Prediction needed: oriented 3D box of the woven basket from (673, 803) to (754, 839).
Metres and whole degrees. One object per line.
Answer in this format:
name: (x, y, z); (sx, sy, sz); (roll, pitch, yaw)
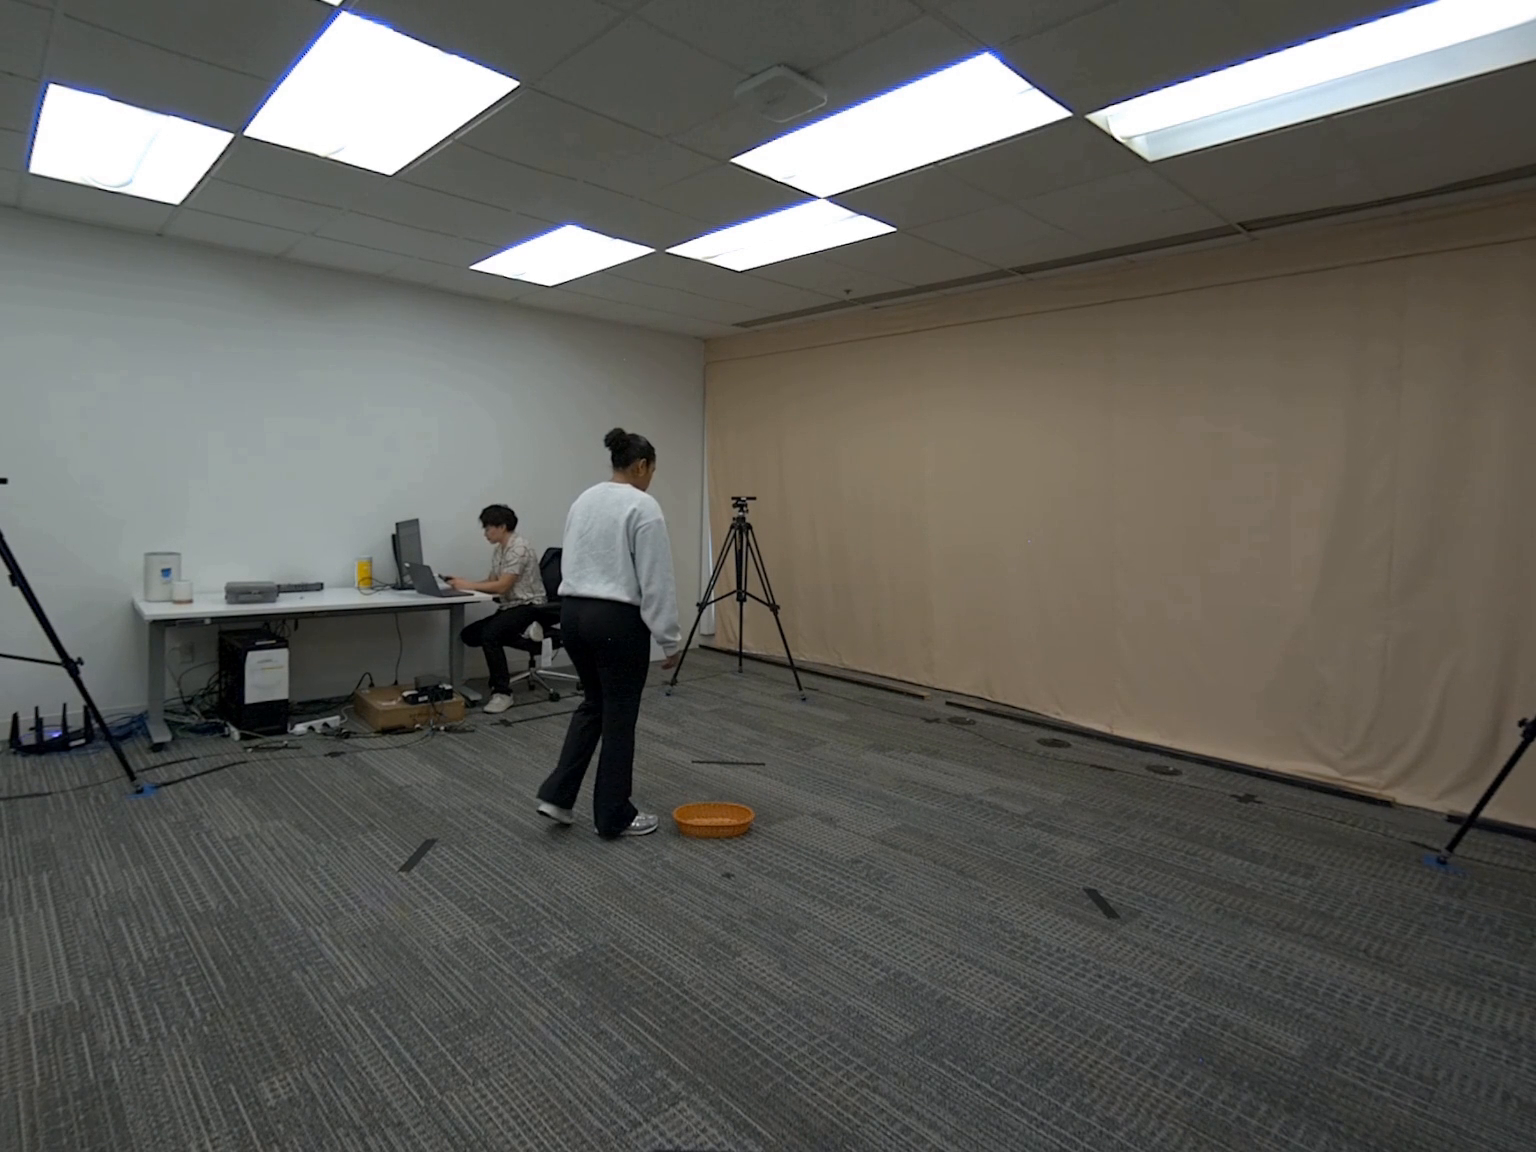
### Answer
woven basket: (-0.235, 1.026, 3.534); (0.349, 0.073, 0.254); (1, 5, -4)
